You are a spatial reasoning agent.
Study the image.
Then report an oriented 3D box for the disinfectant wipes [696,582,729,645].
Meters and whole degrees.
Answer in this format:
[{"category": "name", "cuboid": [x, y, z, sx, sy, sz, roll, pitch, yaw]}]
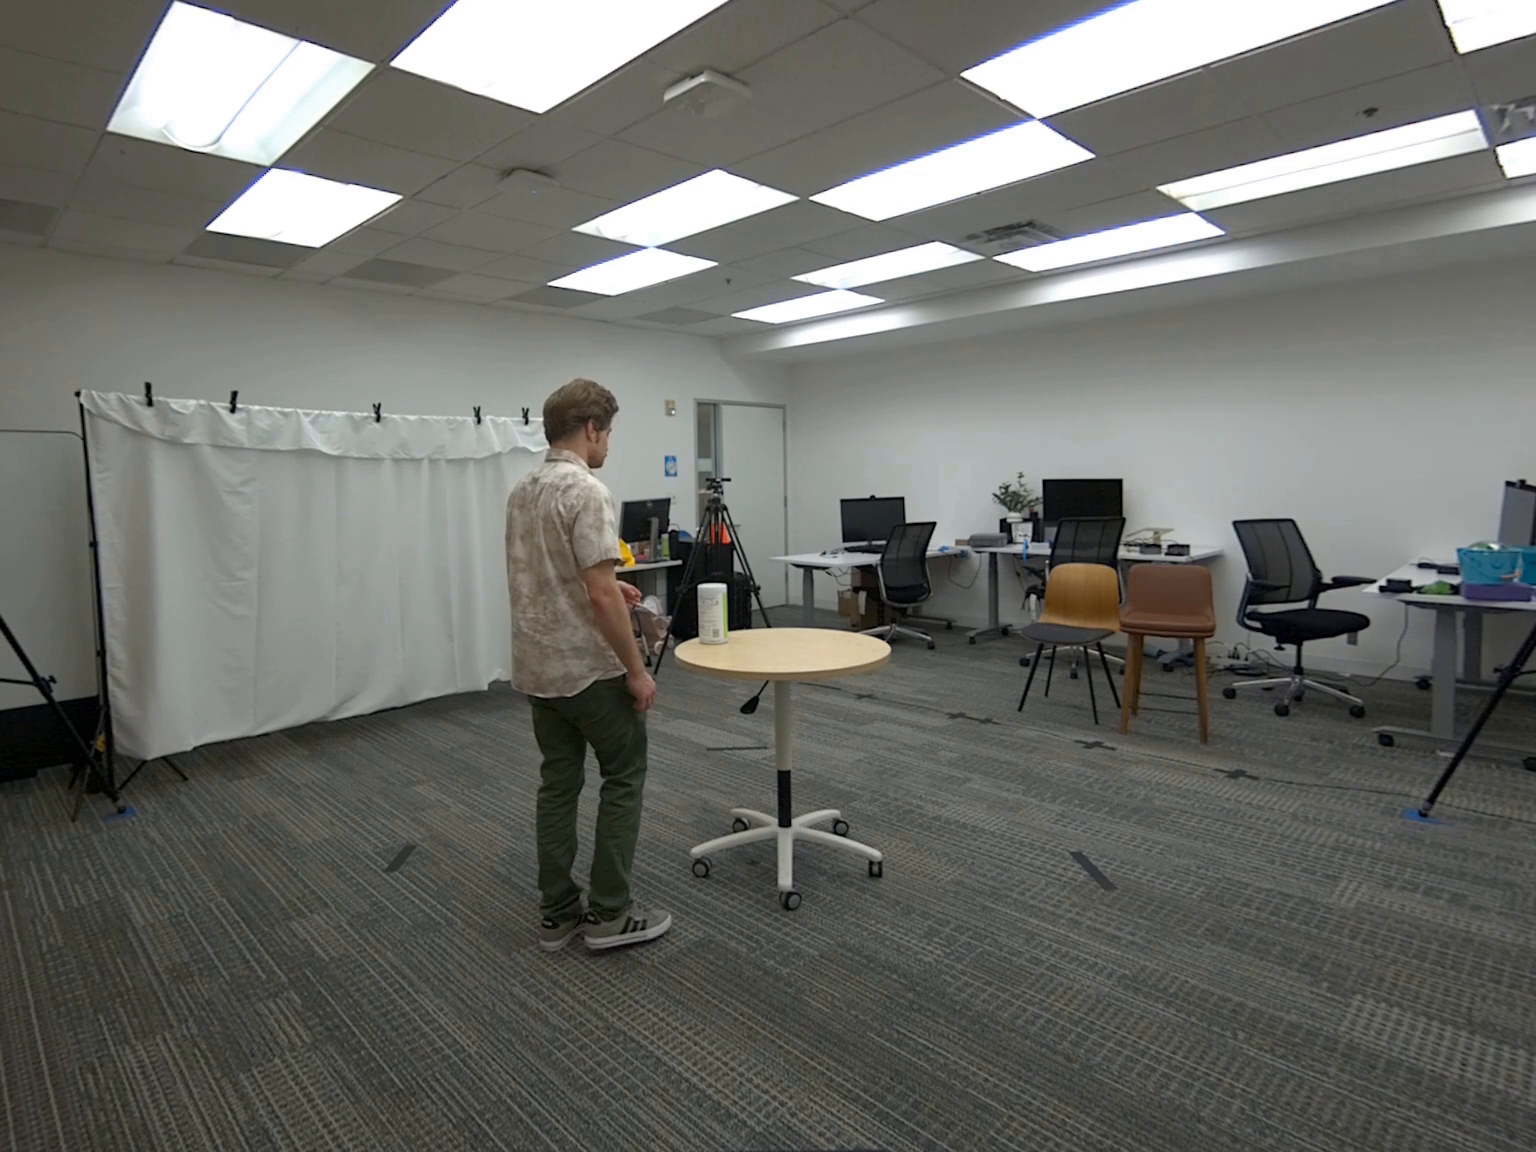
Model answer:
[{"category": "disinfectant wipes", "cuboid": [-0.200, 0.142, 3.178, 0.118, 0.217, 0.118, -2, 3, -2]}]
